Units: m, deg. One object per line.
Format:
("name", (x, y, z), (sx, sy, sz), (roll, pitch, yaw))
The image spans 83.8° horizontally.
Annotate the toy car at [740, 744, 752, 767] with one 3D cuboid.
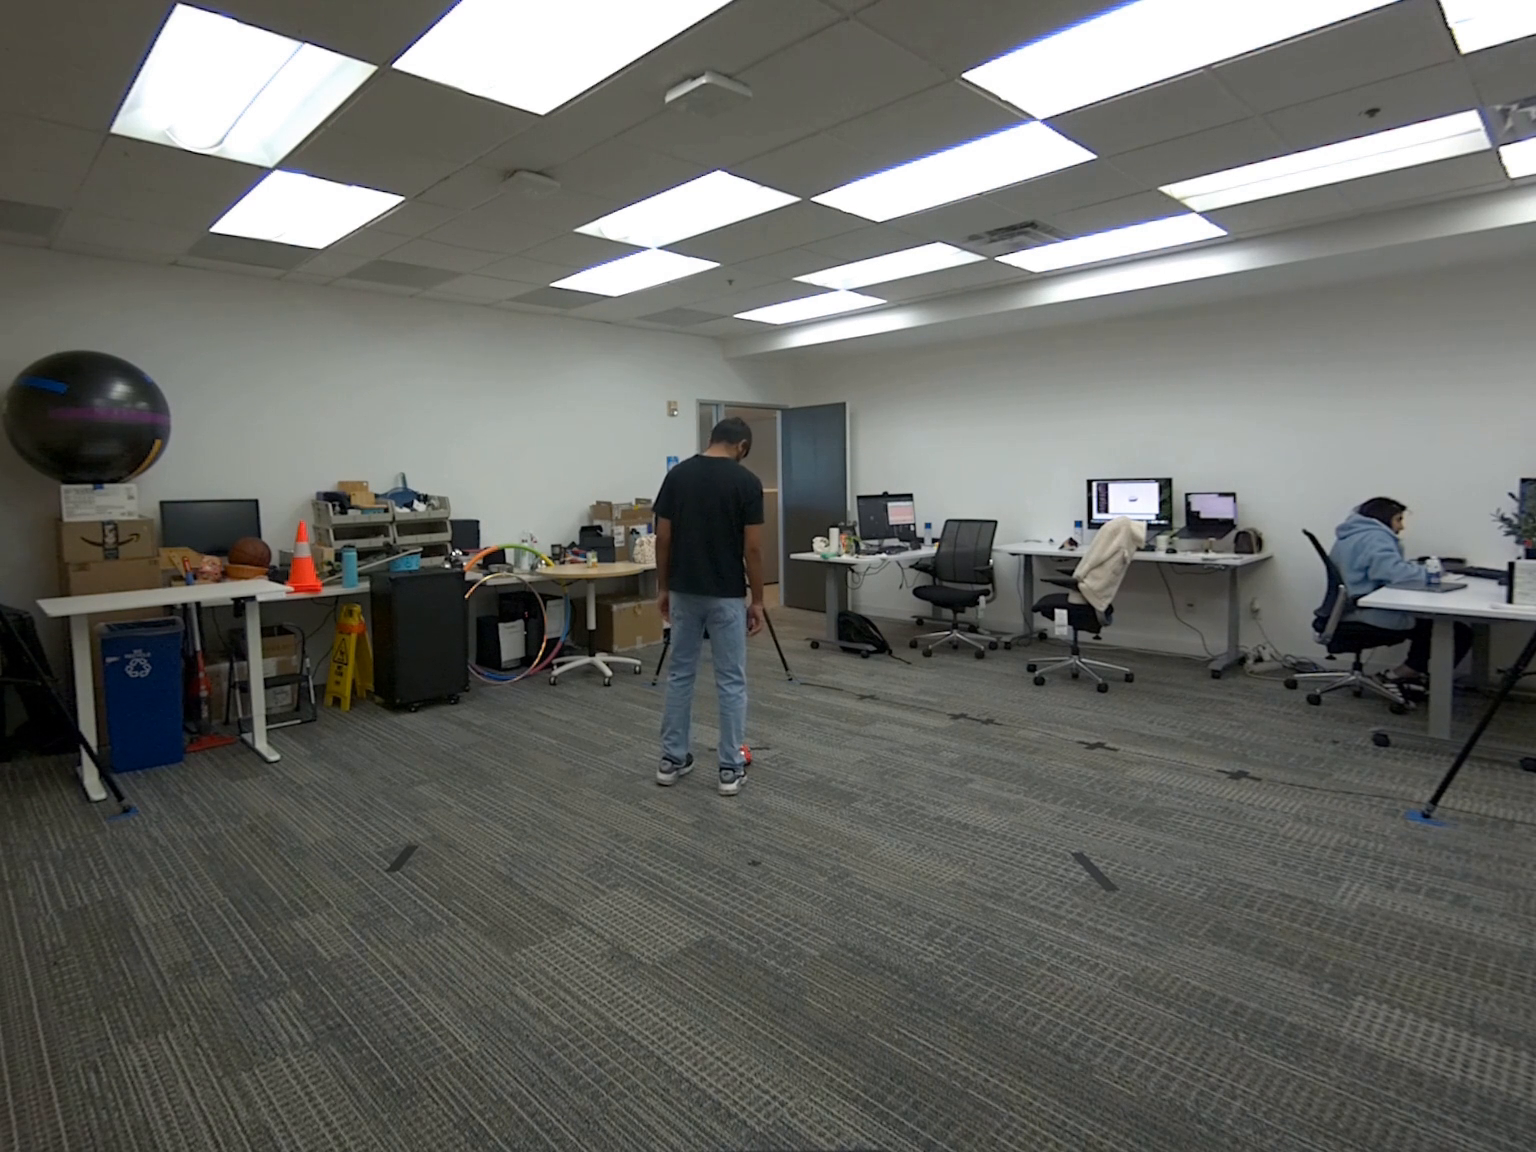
("toy car", (-0.140, 0.889, 4.252), (0.130, 0.084, 0.253), (0, -5, -3))
